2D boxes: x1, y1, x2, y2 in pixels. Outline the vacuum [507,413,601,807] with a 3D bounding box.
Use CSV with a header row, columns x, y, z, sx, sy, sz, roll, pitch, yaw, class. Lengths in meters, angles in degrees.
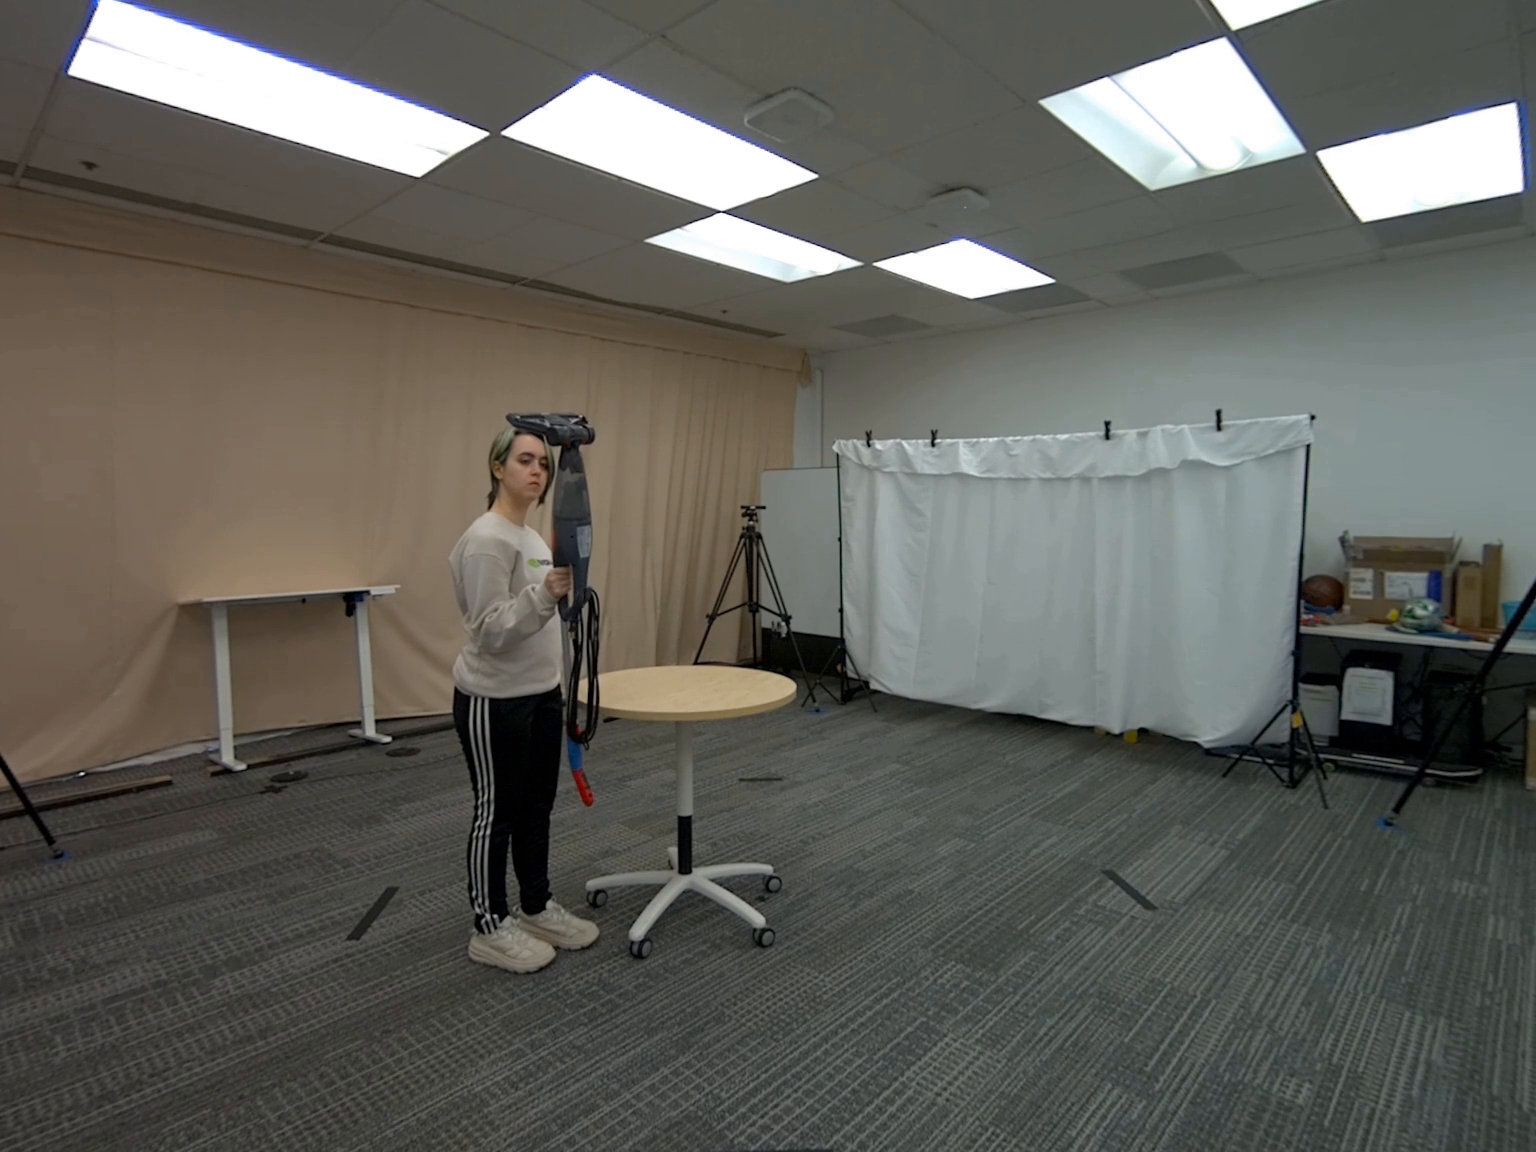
x,y,z,sx,sy,sz,roll,pitch,yaw,class
-0.522,0.107,2.264,0.148,1.045,0.246,1,7,32,vacuum
